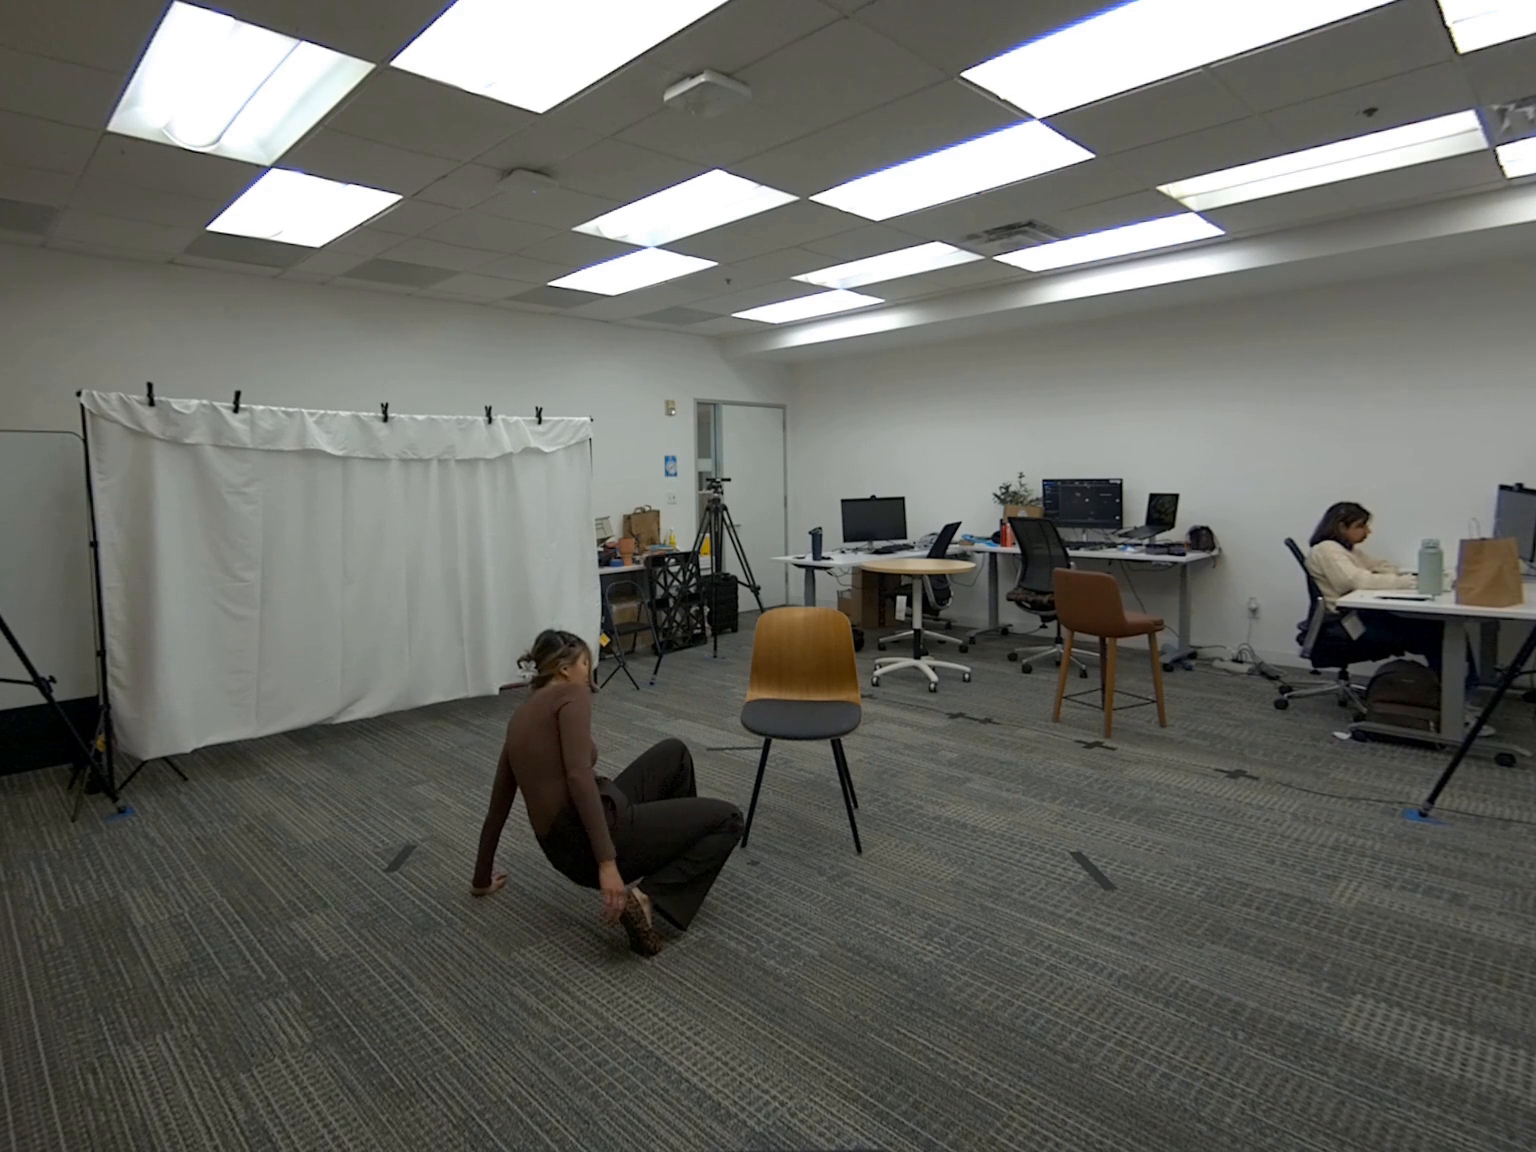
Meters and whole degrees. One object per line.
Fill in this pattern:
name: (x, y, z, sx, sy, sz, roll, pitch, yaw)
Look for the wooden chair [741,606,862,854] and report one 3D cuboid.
wooden chair: (0.139, 0.580, 3.380, 0.481, 0.877, 0.519, 0, 0, 6)
